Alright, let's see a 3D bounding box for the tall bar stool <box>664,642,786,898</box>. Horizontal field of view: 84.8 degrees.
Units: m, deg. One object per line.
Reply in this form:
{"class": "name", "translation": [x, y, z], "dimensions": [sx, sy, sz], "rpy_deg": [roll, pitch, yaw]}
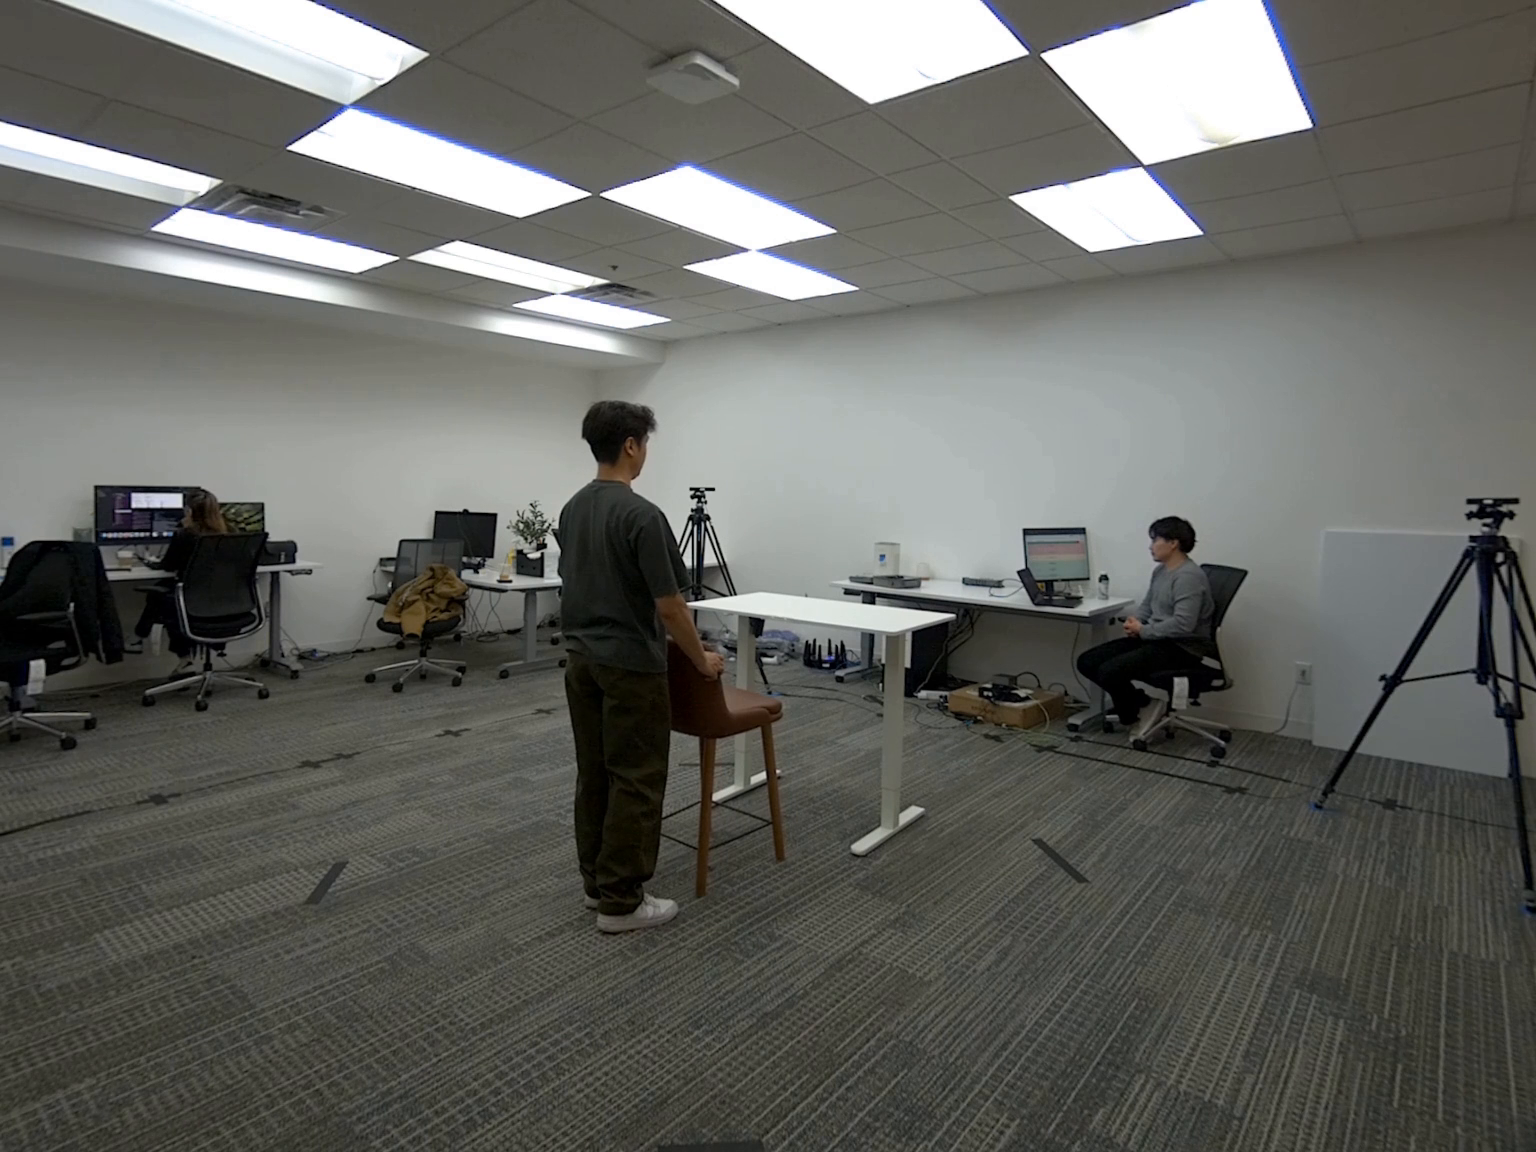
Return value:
{"class": "tall bar stool", "translation": [-0.238, 0.623, 3.140], "dimensions": [0.472, 0.886, 0.454], "rpy_deg": [3, 6, 42]}
